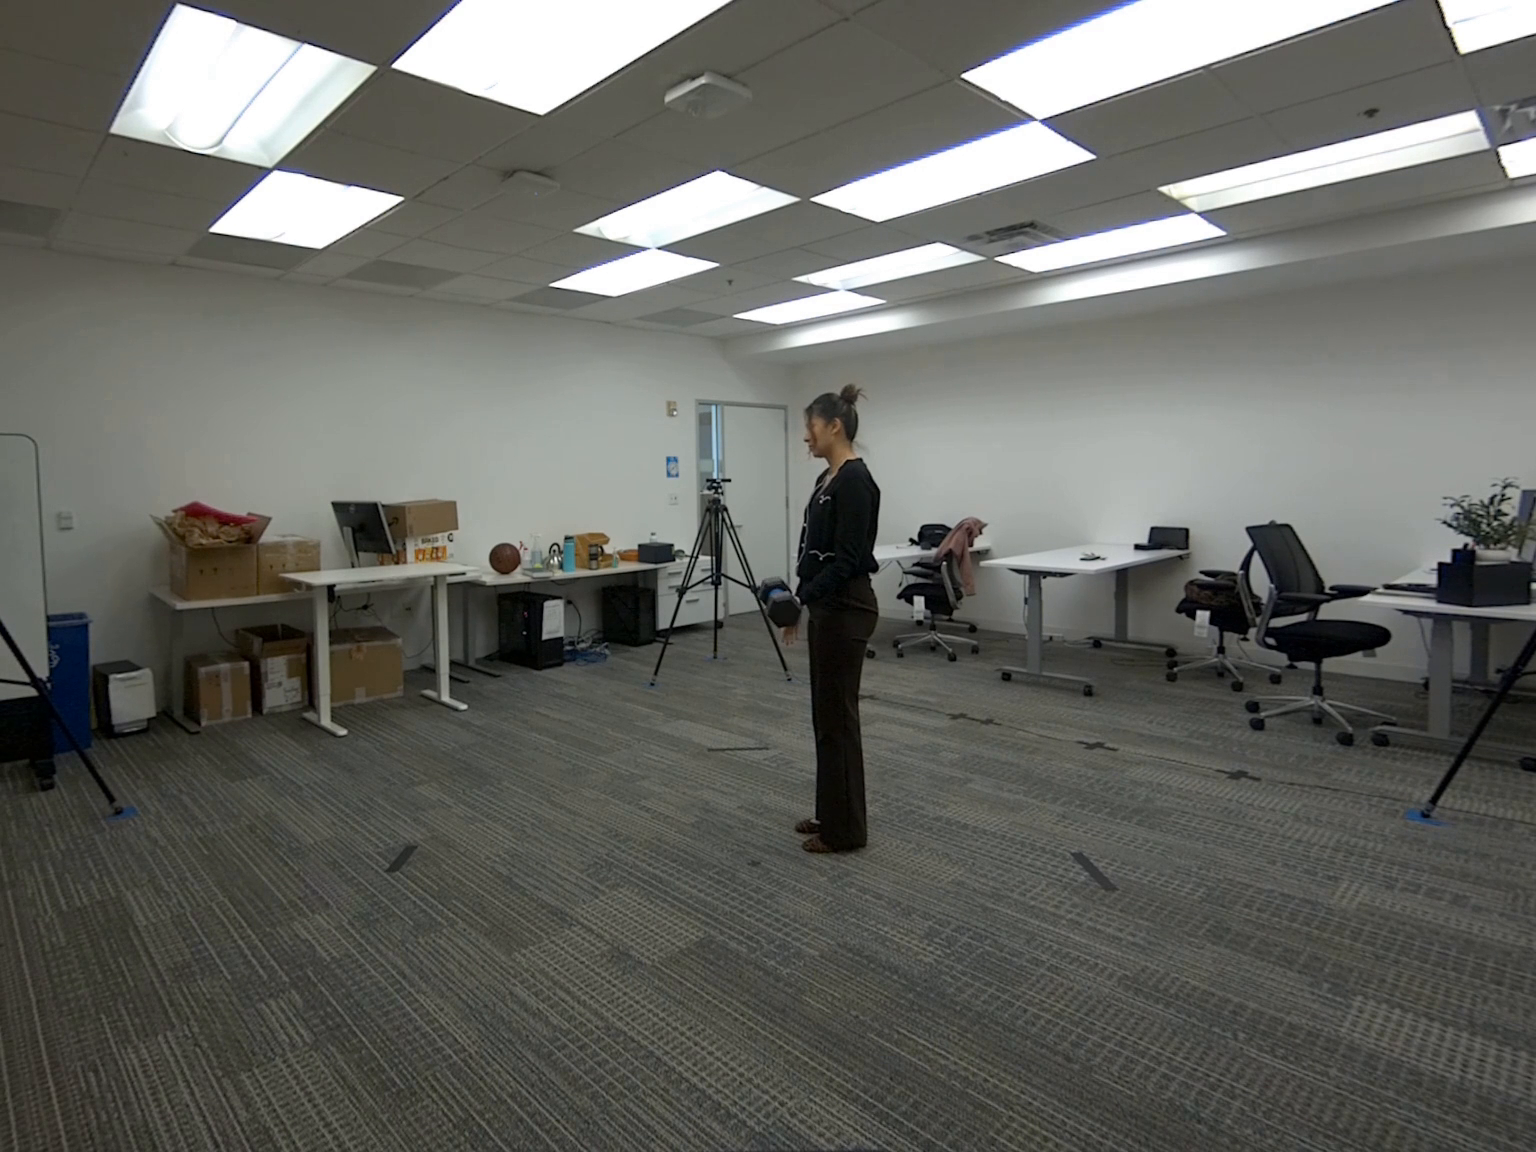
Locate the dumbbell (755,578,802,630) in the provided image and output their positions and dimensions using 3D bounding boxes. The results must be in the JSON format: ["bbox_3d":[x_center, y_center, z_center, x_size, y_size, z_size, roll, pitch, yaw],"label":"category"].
[{"bbox_3d":[0.051,0.085,2.998,0.122,0.107,0.299,-10,13,-9],"label":"dumbbell"}]
